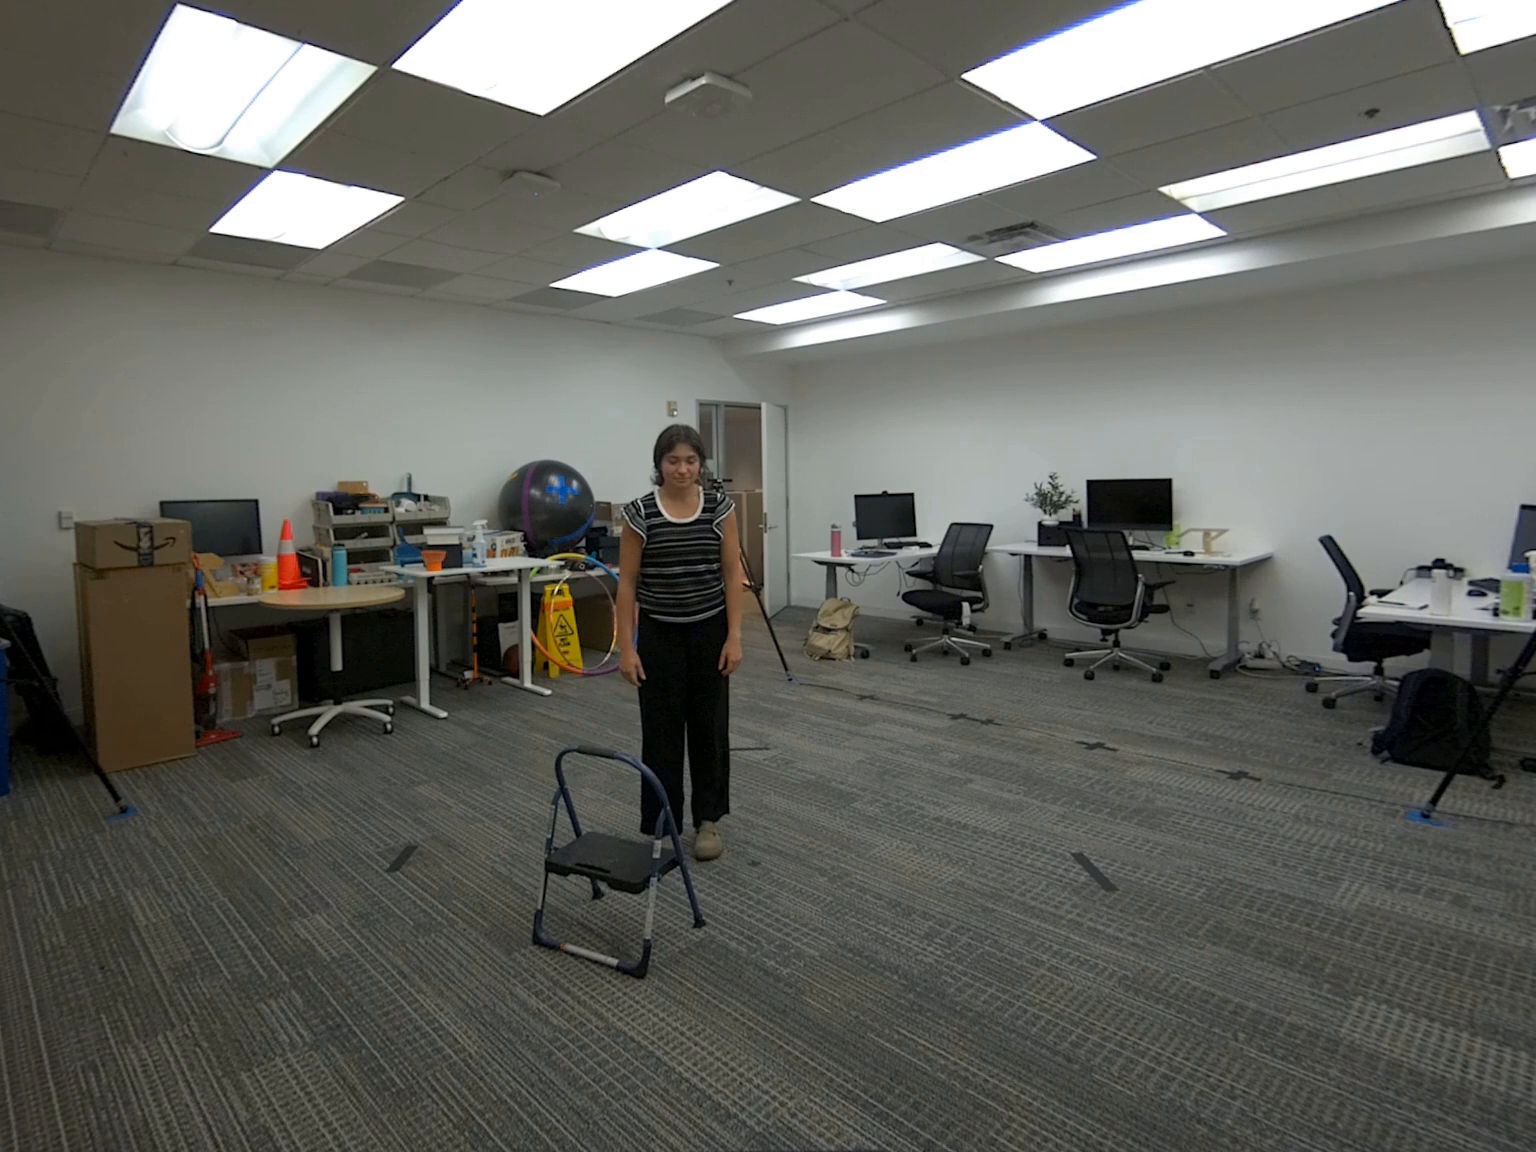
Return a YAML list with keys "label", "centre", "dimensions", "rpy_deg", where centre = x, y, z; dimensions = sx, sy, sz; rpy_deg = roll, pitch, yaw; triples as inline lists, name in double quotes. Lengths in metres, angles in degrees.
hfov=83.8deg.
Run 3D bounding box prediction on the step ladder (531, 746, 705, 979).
- label: "step ladder"
  centre: [-0.467, 0.811, 2.626]
  dimensions: [0.441, 0.604, 0.342]
  rpy_deg: [1, 5, 27]
